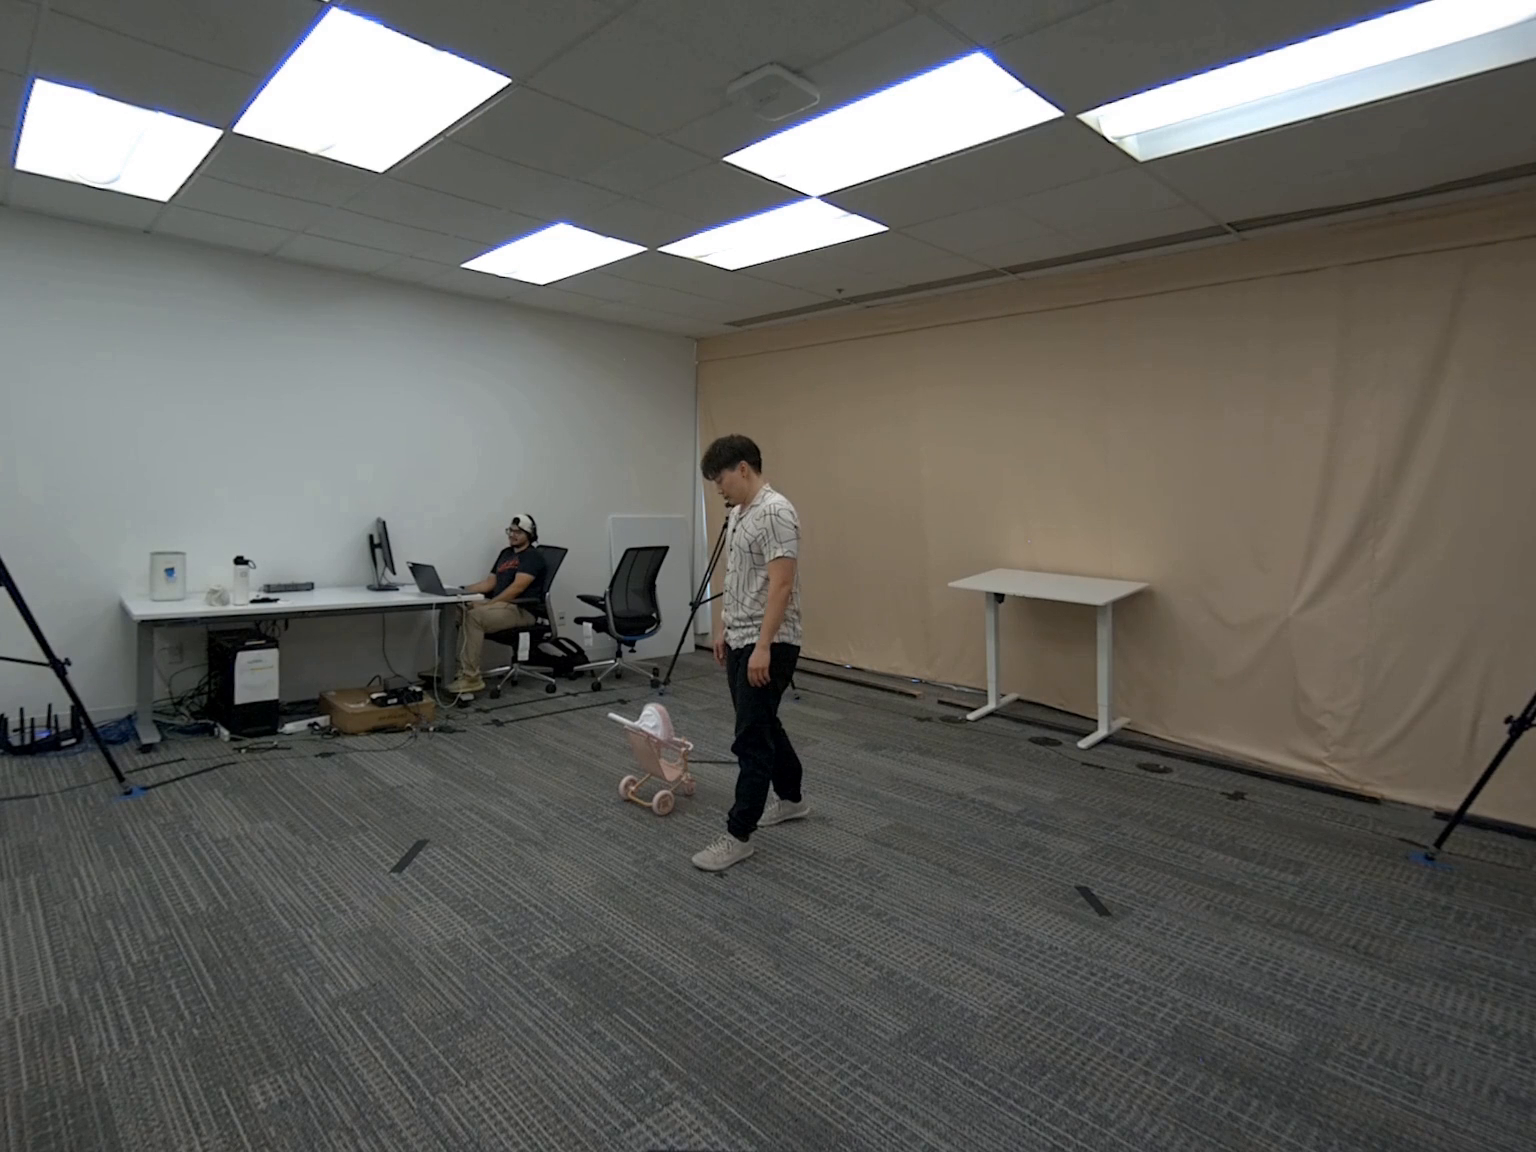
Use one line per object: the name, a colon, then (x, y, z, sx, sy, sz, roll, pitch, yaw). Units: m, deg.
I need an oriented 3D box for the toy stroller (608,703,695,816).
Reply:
toy stroller: (-0.506, 0.809, 3.804, 0.336, 0.529, 0.289, -21, 18, -37)
